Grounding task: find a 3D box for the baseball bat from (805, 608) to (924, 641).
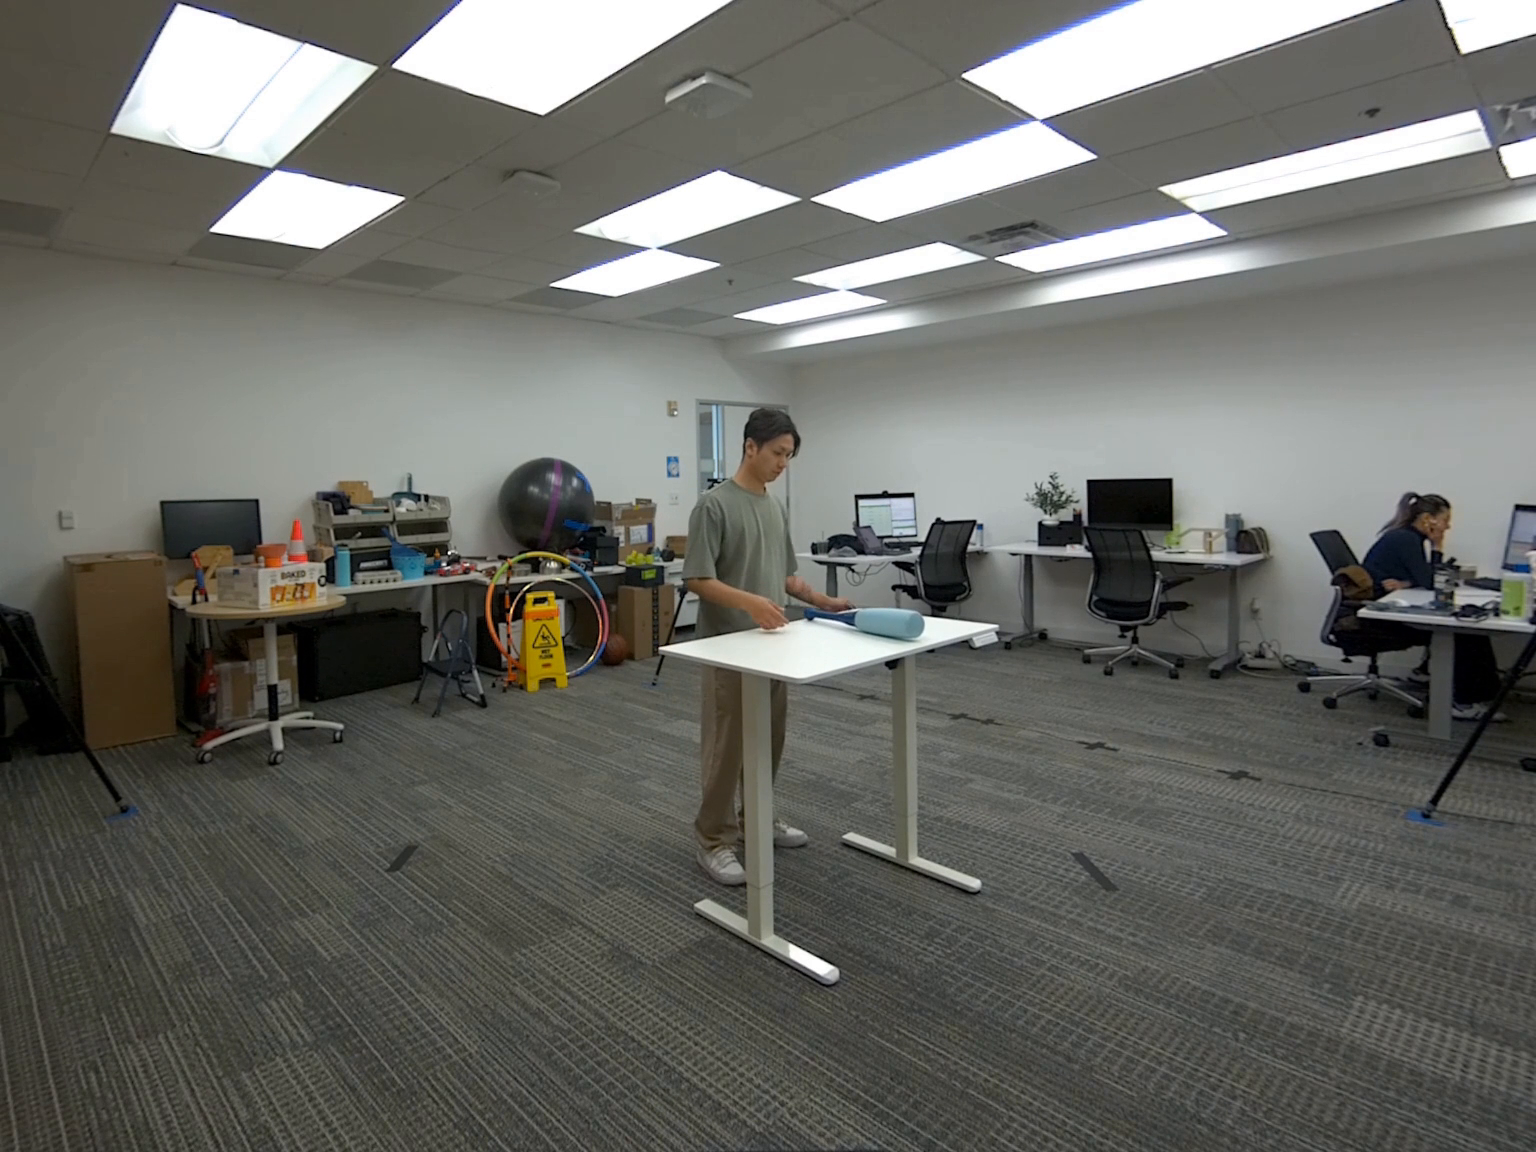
[{"bbox_3d":[0.299,0.147,2.864,0.087,0.089,0.557,-4,3,-35],"label":"baseball bat"}]
